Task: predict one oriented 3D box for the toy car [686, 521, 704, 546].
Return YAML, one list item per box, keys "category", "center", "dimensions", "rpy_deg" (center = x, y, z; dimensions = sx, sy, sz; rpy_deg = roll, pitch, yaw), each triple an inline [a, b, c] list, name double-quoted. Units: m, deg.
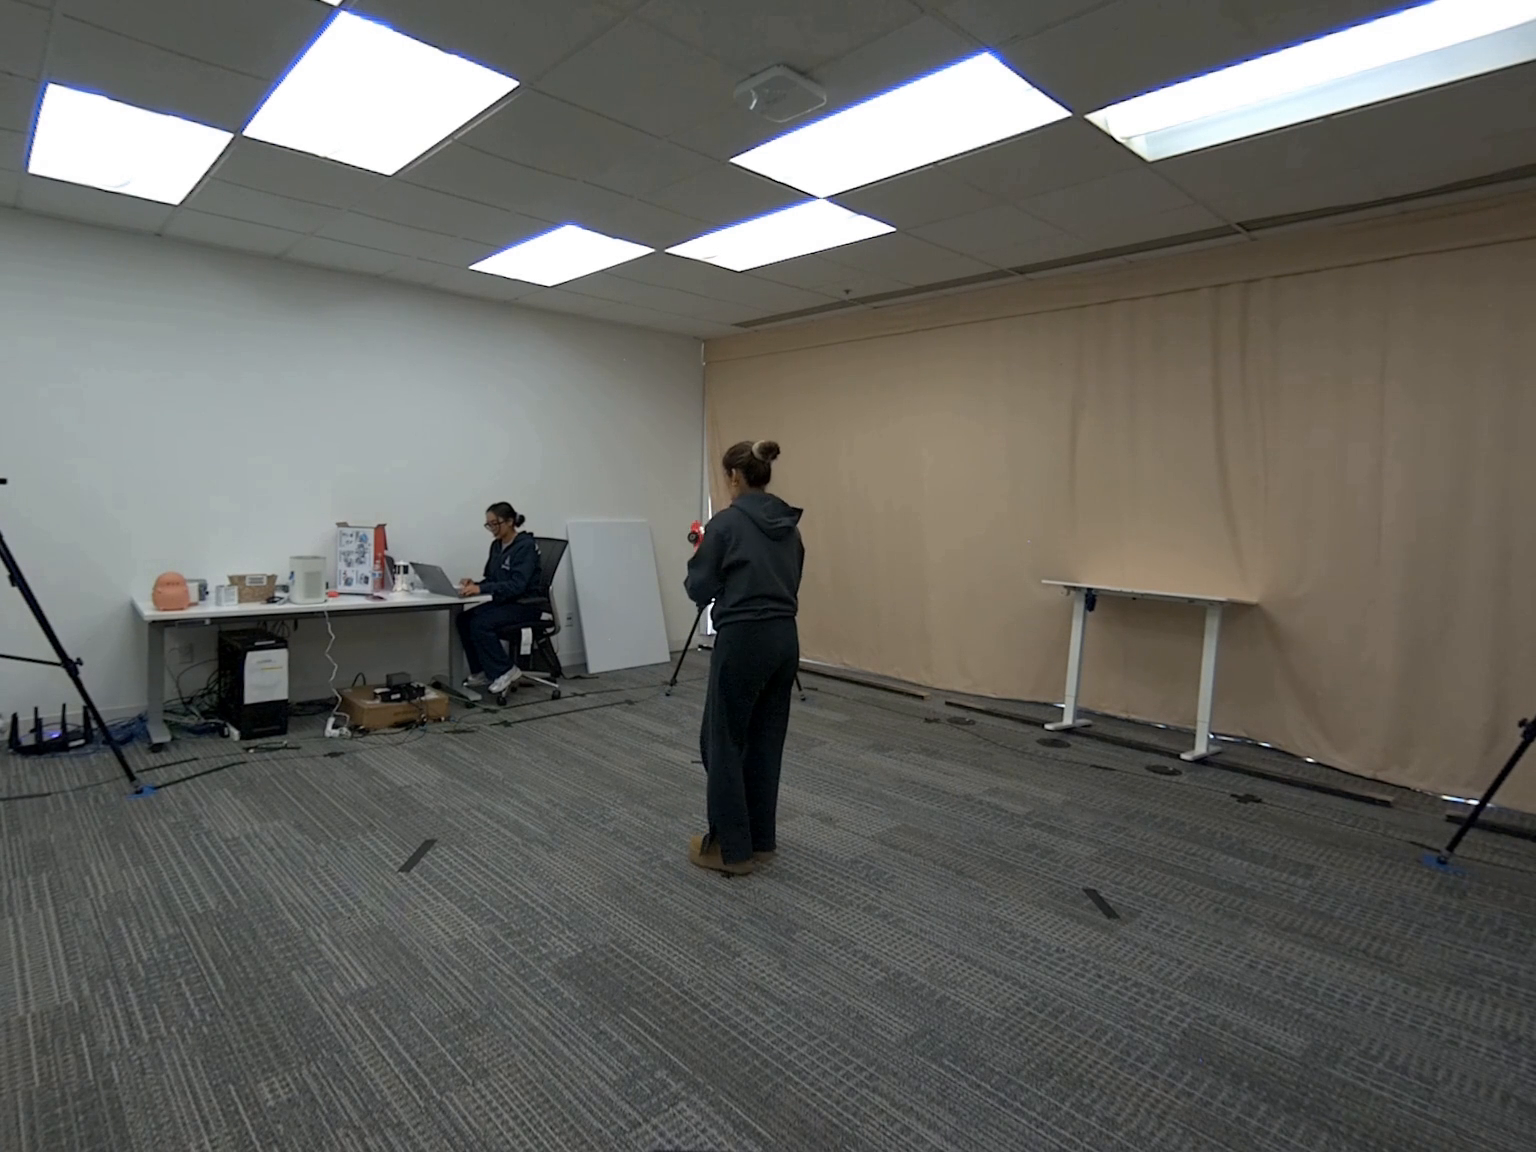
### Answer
- category: "toy car"
  center: [-0.282, -0.102, 3.483]
  dimensions: [0.084, 0.257, 0.128]
  rpy_deg: [-8, -12, 12]
